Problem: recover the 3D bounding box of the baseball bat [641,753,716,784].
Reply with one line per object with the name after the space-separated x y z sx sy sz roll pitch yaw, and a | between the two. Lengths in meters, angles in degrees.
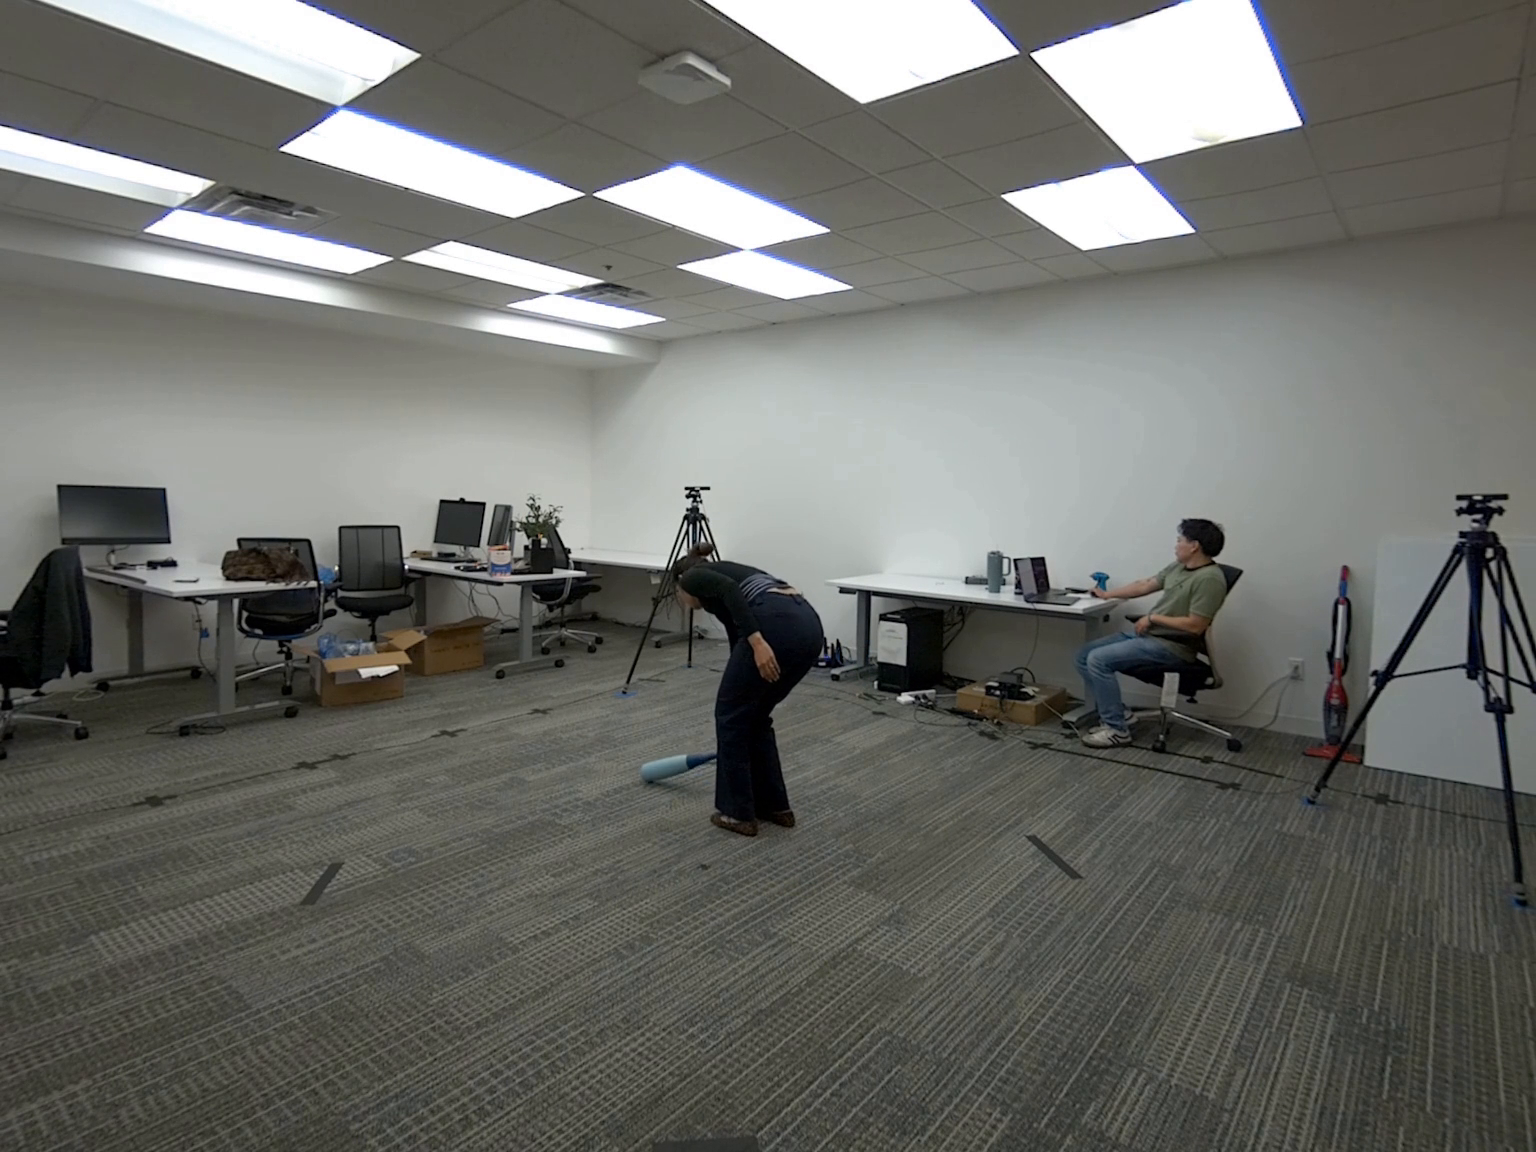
-0.352 0.844 3.928 0.550 0.089 0.087 -17 -2 19 | baseball bat
